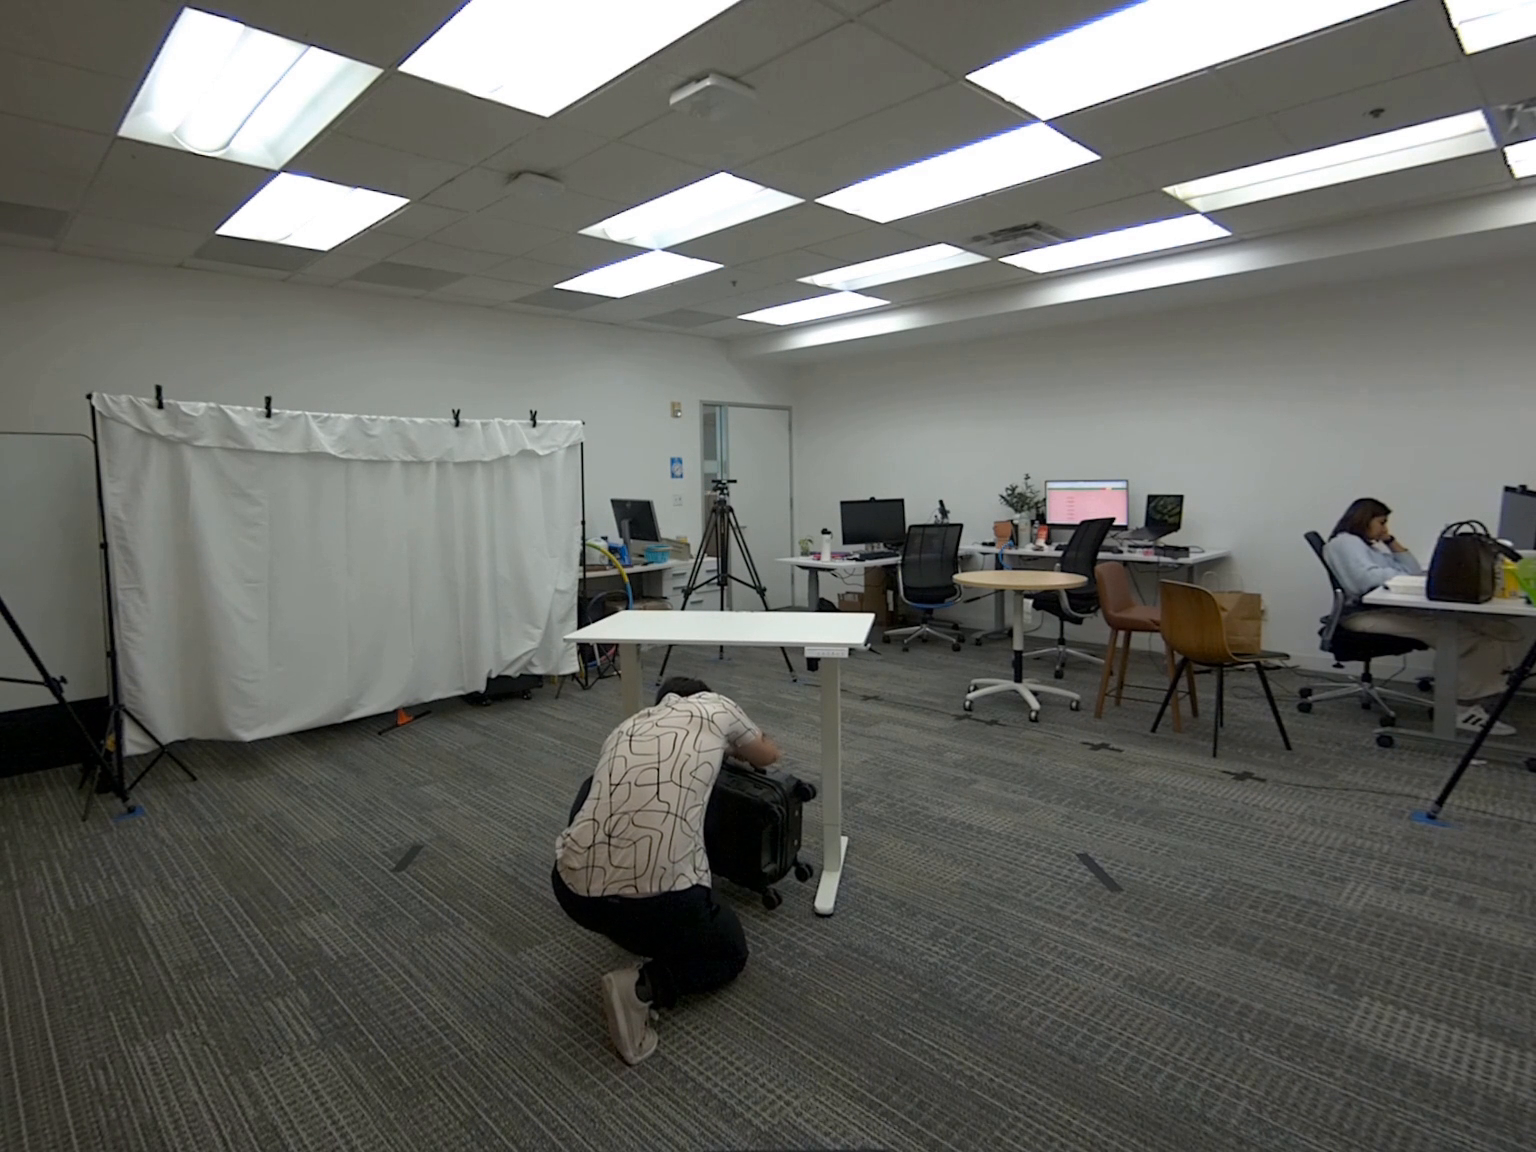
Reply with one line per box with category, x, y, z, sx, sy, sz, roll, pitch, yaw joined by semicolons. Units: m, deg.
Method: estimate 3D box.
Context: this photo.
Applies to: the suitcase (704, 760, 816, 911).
suitcase;-0.130;0.810;2.925;0.567;0.372;0.243;11;14;34
